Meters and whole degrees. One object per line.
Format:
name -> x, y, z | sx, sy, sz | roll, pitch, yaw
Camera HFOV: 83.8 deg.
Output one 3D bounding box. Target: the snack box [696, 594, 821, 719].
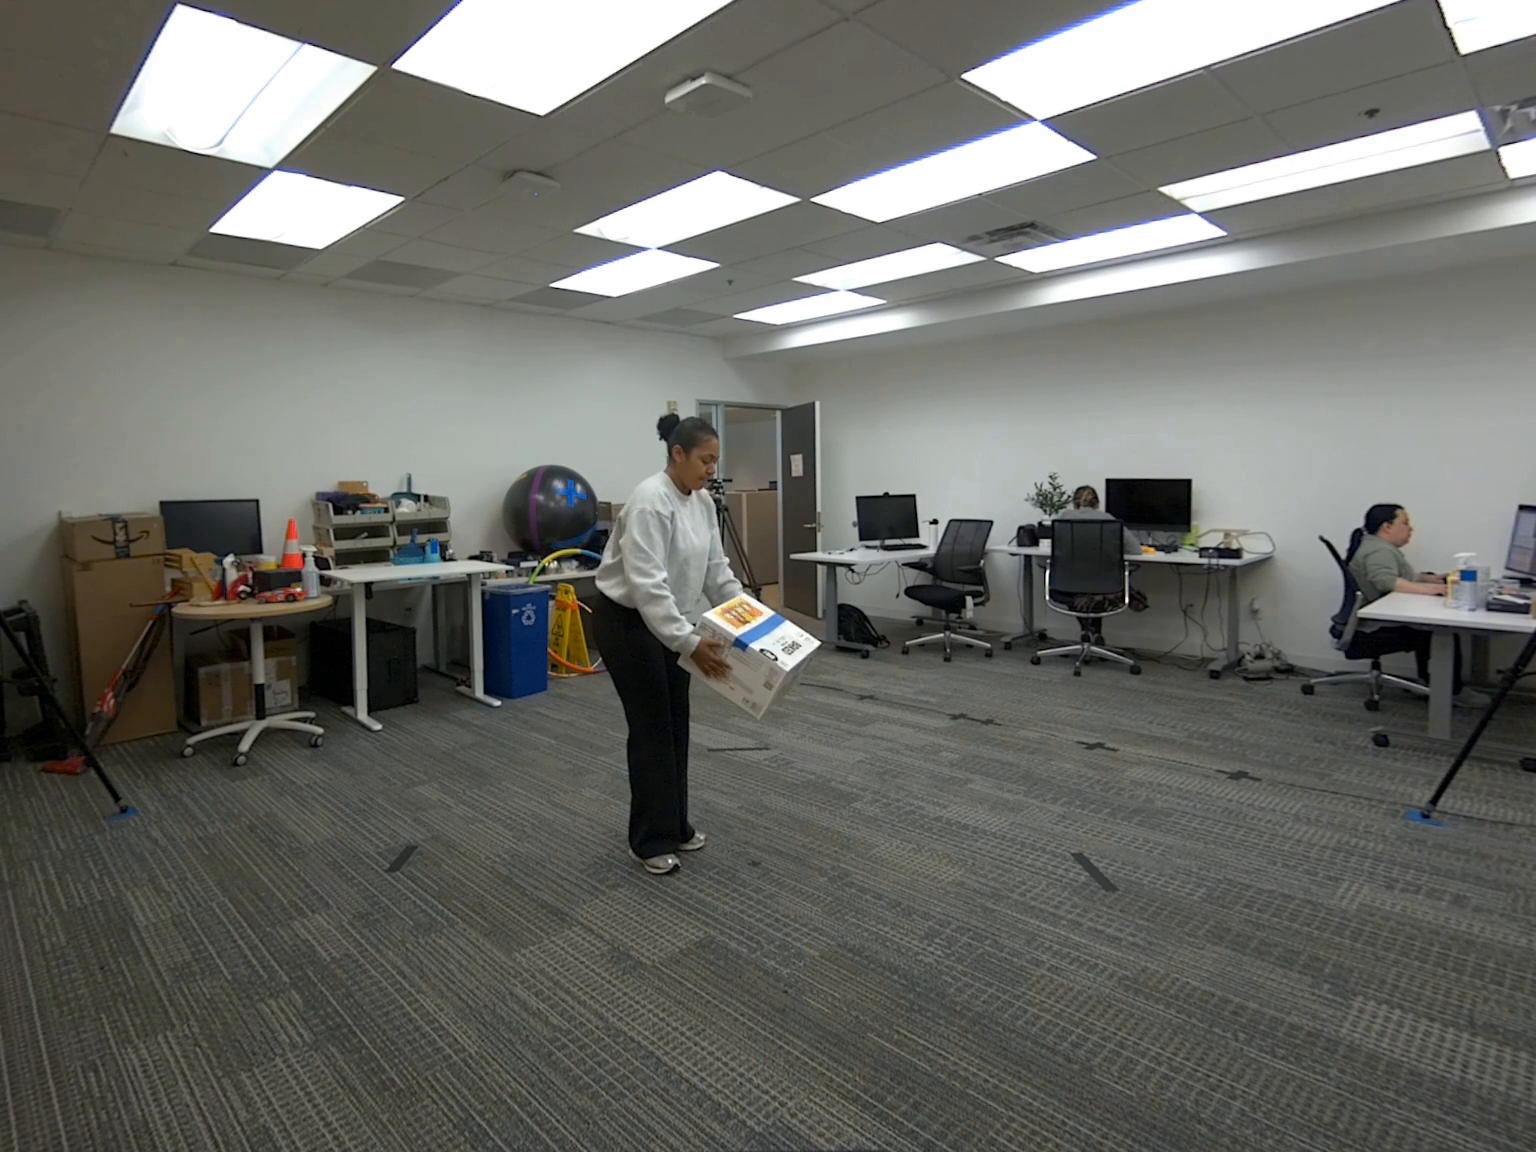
snack box -> -0.060, 0.271, 2.978 | 0.347, 0.204, 0.400 | 31, 18, 14
